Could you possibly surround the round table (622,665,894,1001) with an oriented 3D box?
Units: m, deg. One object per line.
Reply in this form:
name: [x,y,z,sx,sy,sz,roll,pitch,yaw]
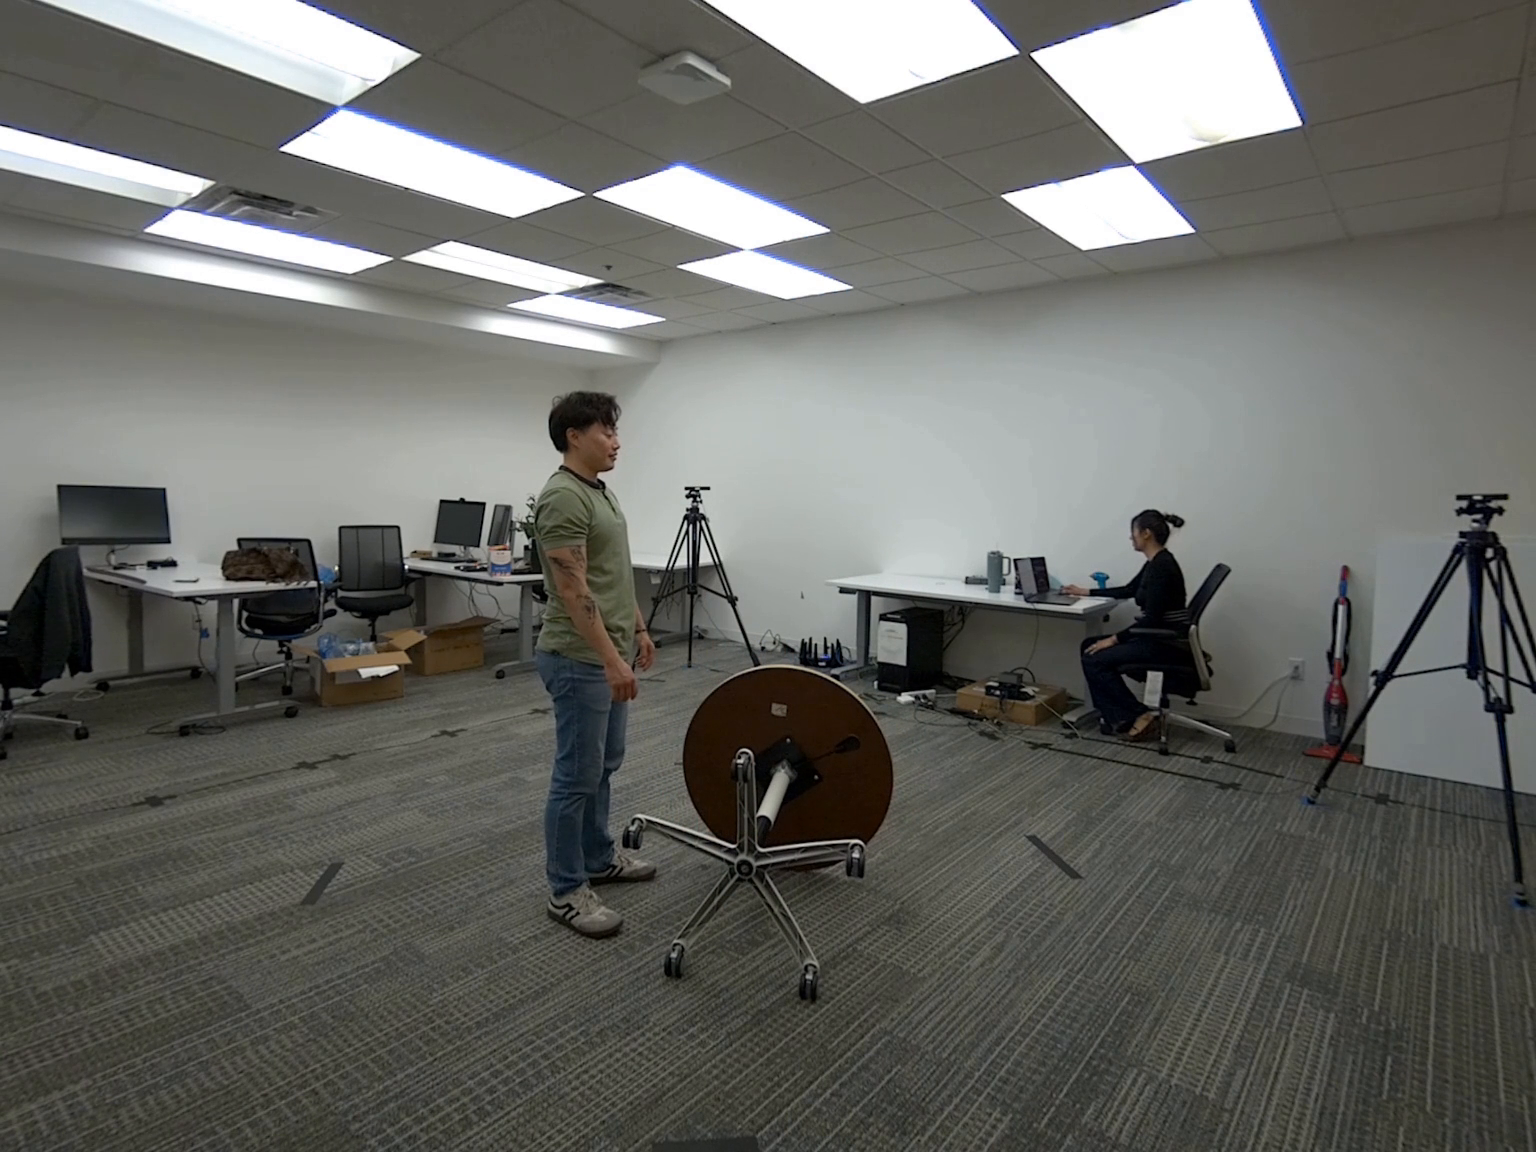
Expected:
round table: [-0.011,0.767,2.692,0.775,0.757,0.790,2,9,12]
